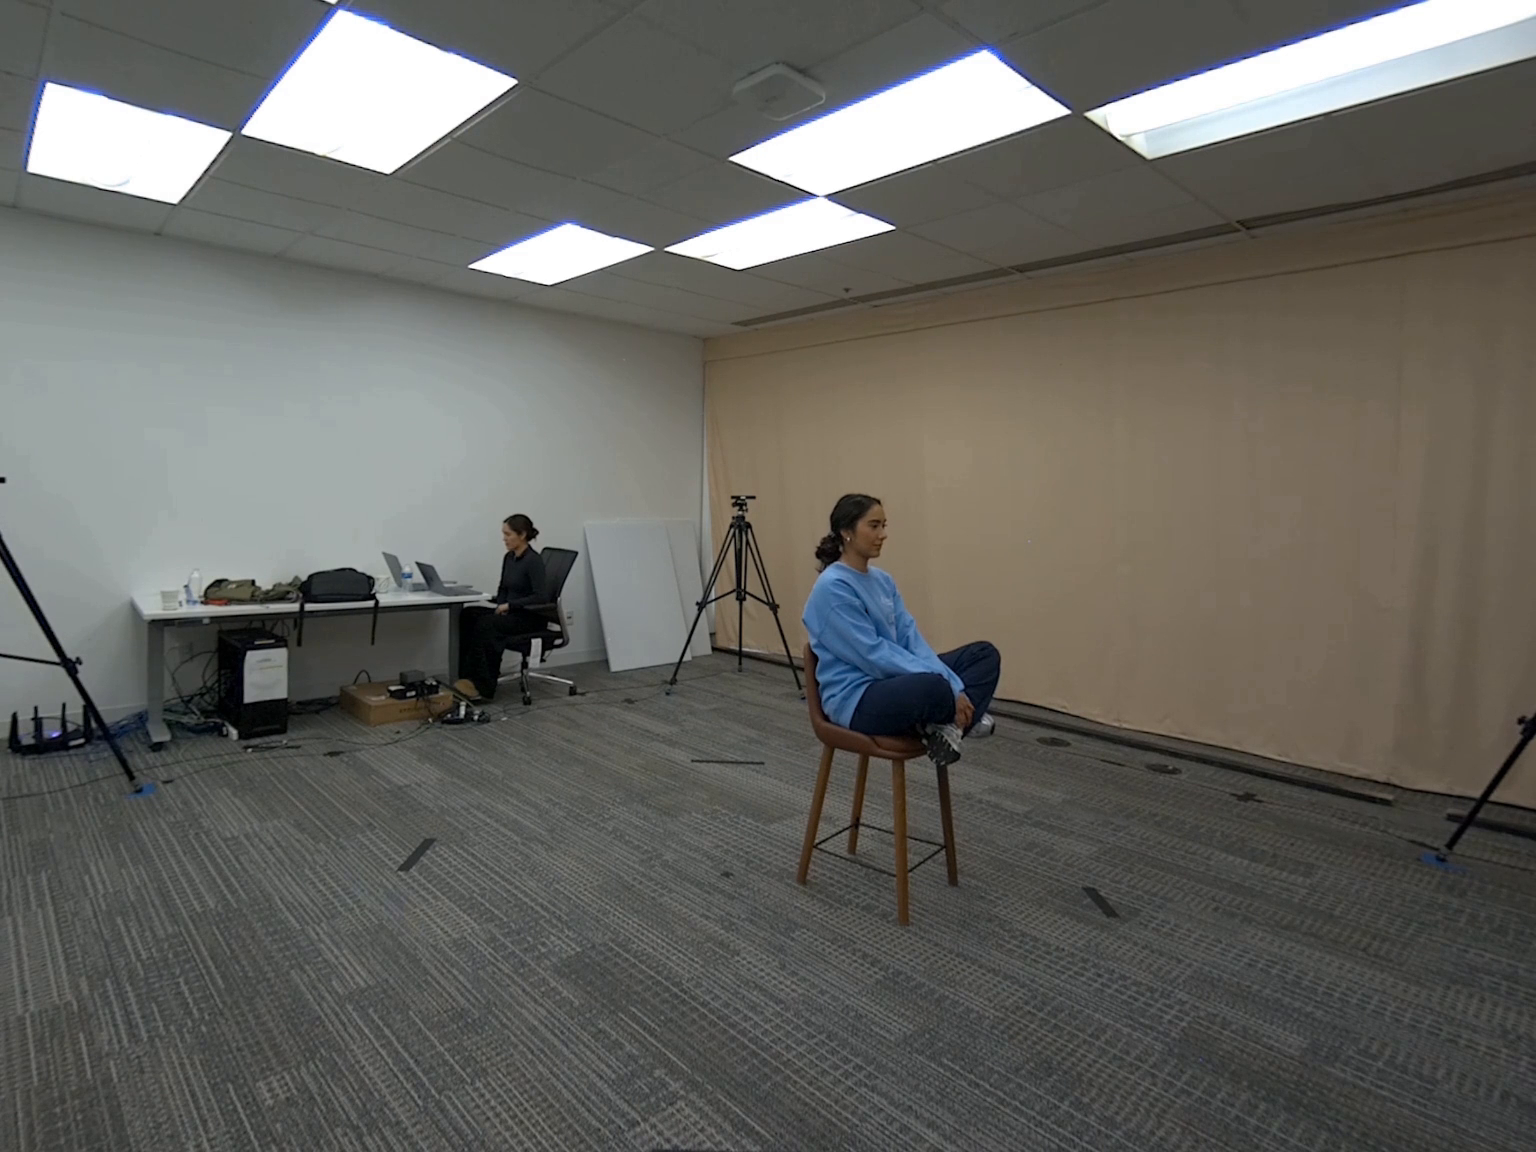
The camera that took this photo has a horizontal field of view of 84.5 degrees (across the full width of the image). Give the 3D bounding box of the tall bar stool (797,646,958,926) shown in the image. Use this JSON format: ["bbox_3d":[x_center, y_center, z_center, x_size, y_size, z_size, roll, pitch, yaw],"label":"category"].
[{"bbox_3d":[0.394,0.687,3.034,0.479,0.889,0.446,2,2,39],"label":"tall bar stool"}]
